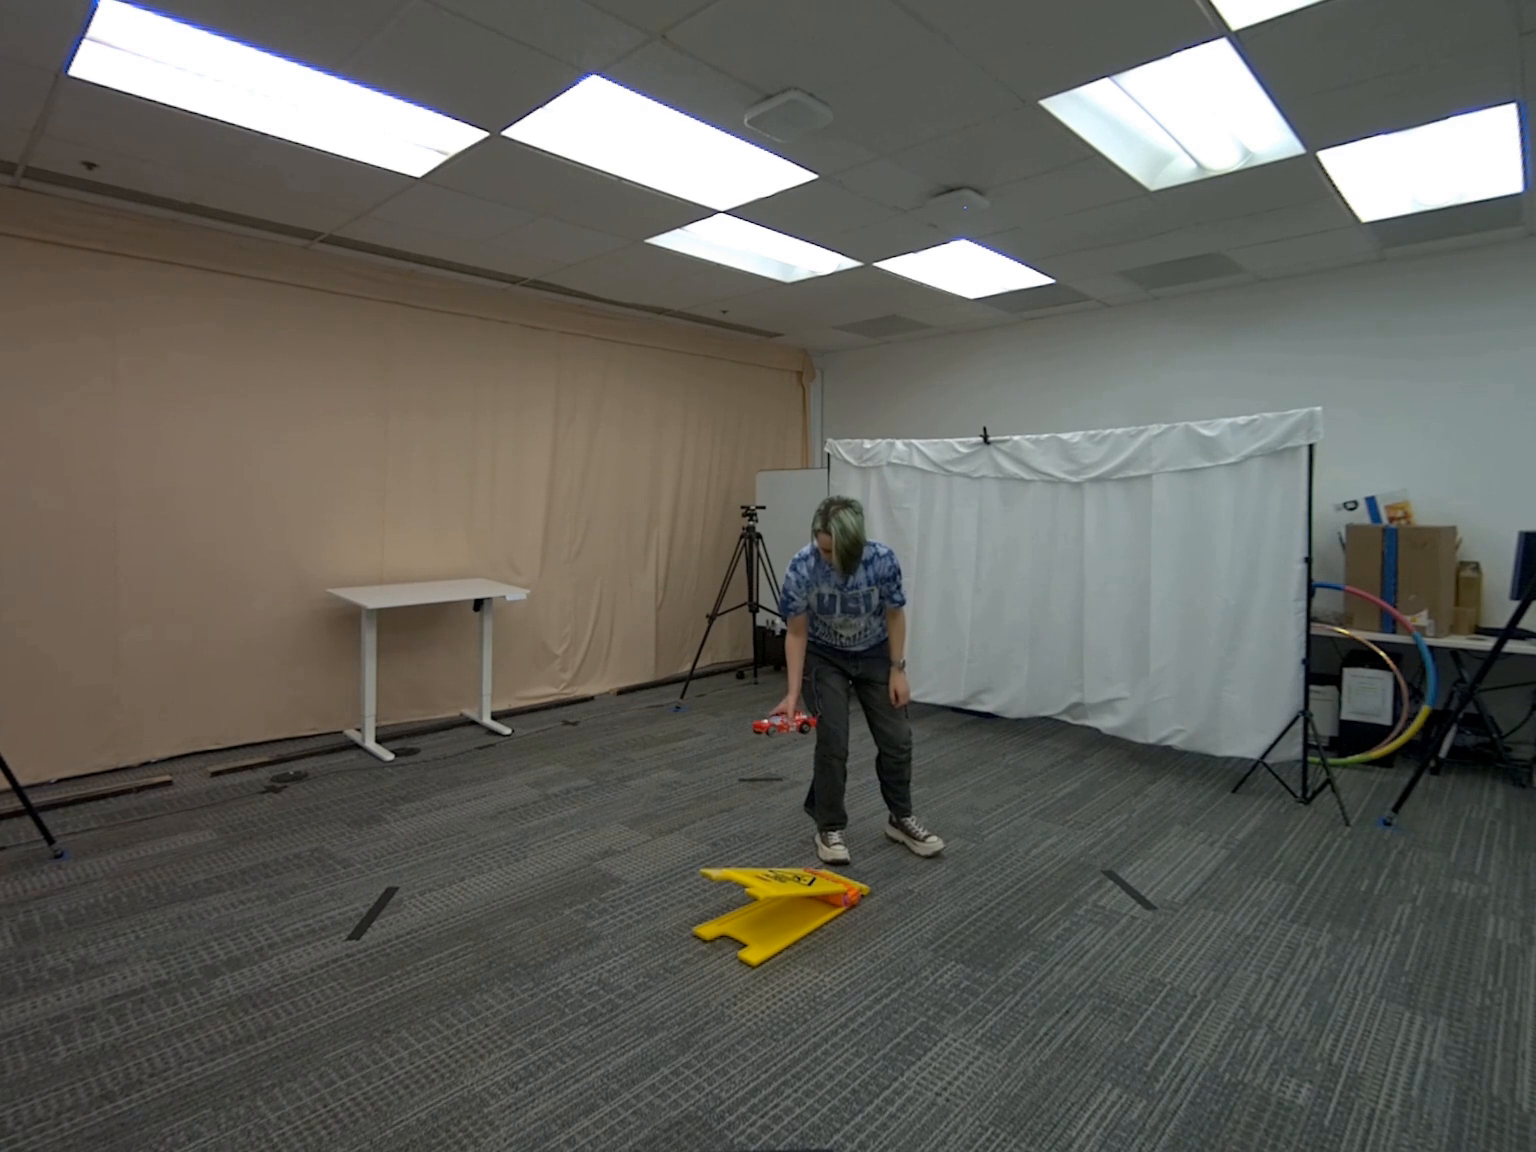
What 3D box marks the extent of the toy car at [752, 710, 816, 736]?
[{"bbox_3d":[0.074,0.569,3.172,0.248,0.083,0.133,-10,2,-30],"label":"toy car"}]
